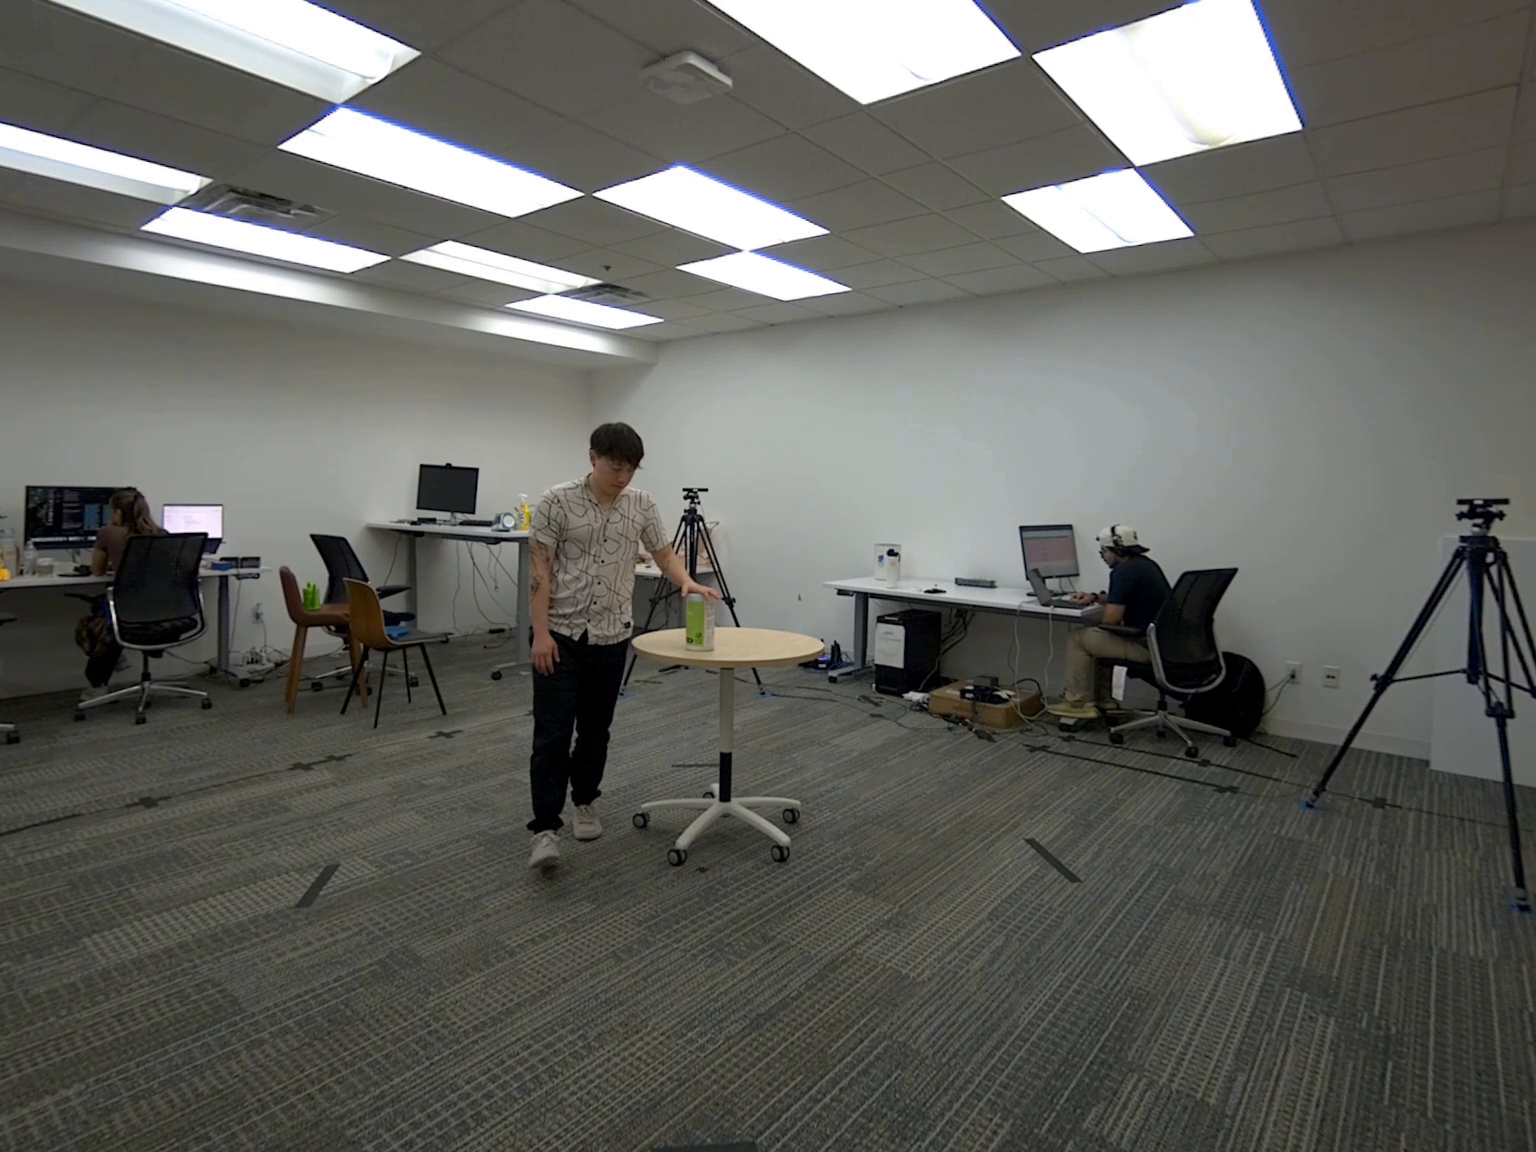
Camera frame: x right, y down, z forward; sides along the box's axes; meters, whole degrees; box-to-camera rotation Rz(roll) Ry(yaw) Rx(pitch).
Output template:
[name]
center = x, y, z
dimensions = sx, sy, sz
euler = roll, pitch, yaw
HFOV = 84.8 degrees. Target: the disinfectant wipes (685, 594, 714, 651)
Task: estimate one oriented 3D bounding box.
[disinfectant wipes]
center = -0.268, 0.173, 3.230
dimensions = 0.118, 0.217, 0.118
euler = -1, 3, -2
